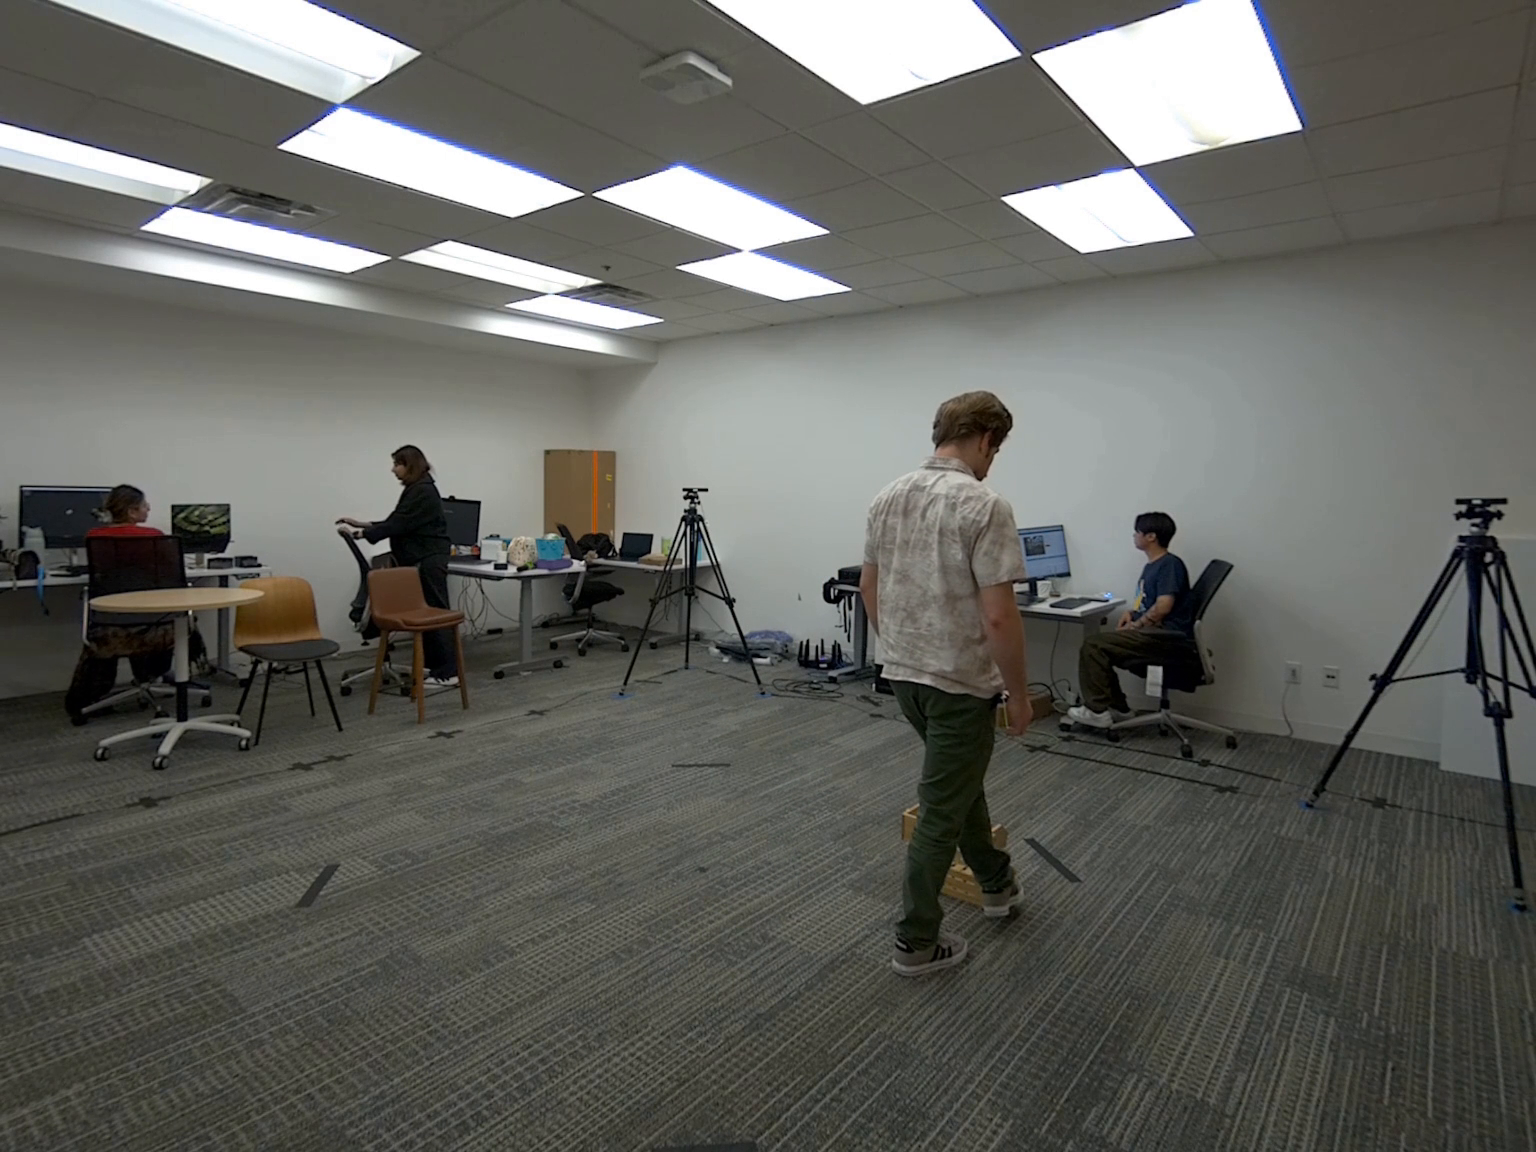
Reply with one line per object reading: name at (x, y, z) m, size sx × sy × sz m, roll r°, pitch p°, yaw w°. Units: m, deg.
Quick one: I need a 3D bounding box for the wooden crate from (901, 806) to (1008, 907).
wooden crate at (0.676, 0.962, 3.029) m, size 0.335 × 0.272 × 0.293 m, roll 5°, pitch 7°, yaw 38°
